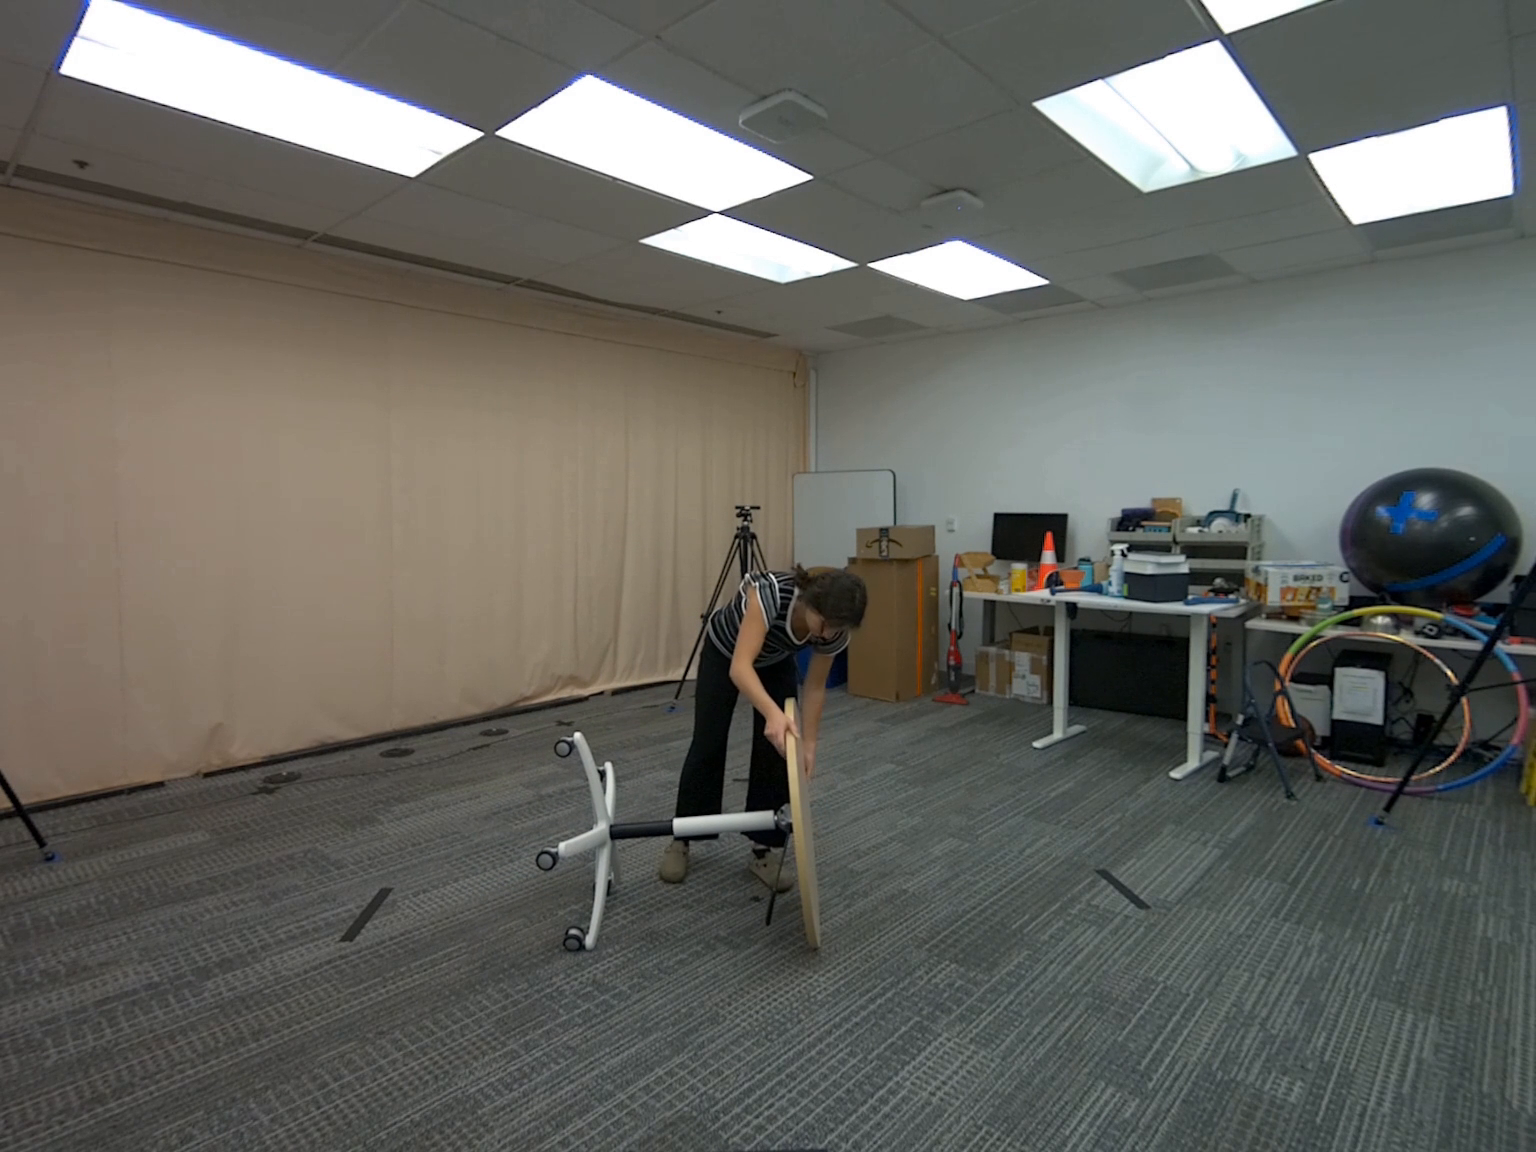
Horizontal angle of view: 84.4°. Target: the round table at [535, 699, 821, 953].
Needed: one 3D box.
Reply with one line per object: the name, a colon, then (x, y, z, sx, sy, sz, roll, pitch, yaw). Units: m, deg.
round table: (-0.271, 0.830, 2.772, 0.798, 0.762, 0.761, -5, 3, 5)
